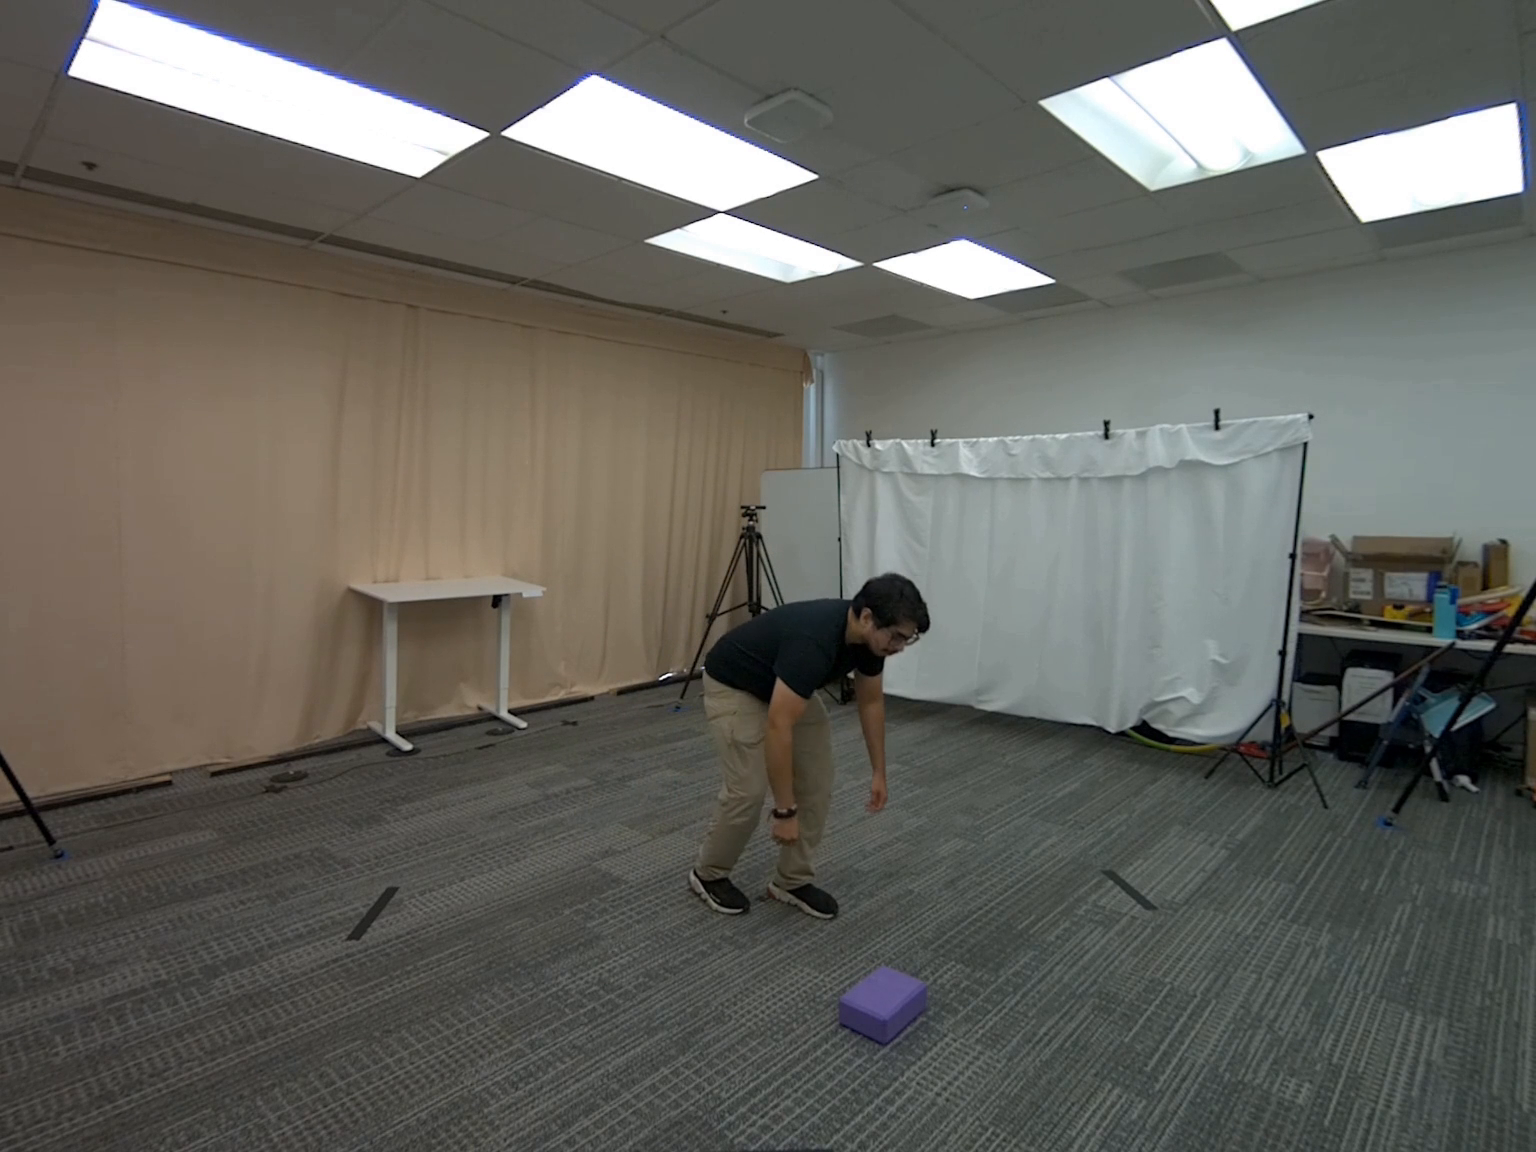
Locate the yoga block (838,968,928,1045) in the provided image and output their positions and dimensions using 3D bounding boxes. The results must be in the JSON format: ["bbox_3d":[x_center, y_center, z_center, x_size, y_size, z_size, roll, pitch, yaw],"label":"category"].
[{"bbox_3d":[0.319,1.159,2.293,0.154,0.076,0.222,5,6,40],"label":"yoga block"}]
